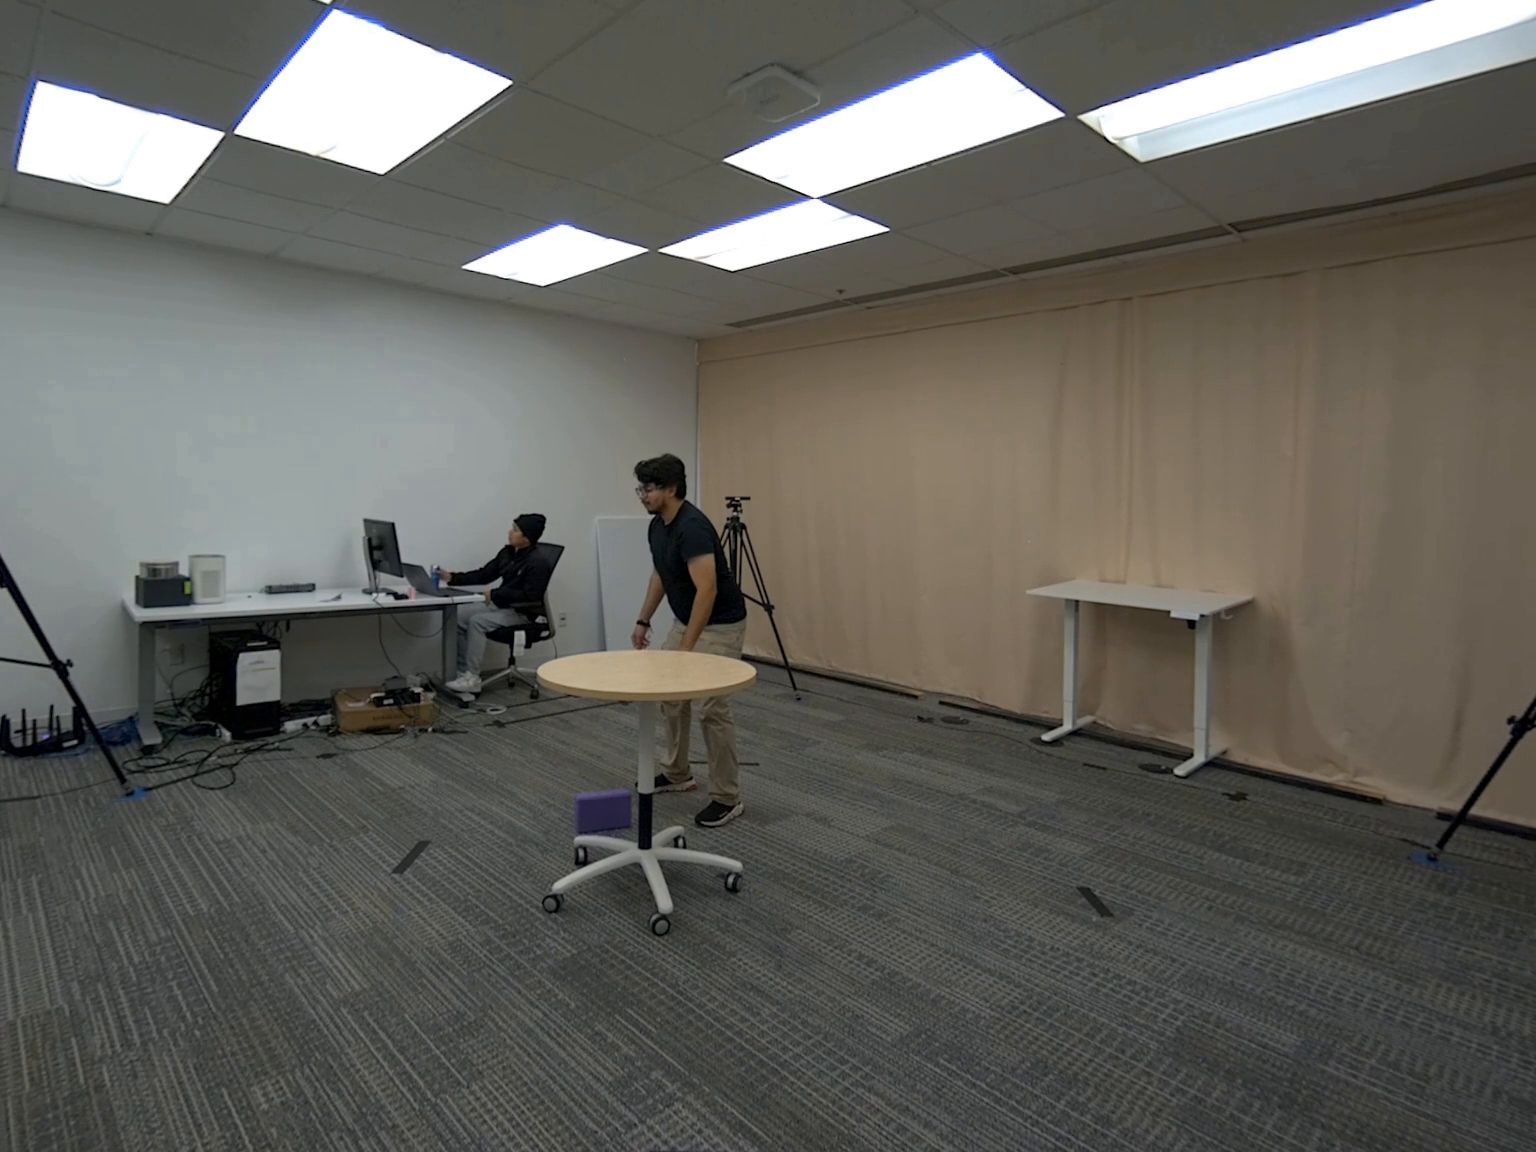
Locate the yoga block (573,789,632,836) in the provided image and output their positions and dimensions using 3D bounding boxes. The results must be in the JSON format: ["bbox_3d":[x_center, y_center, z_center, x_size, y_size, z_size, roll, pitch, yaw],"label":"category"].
[{"bbox_3d":[-0.700,0.981,3.525,0.226,0.148,0.078,0,5,-21],"label":"yoga block"}]
